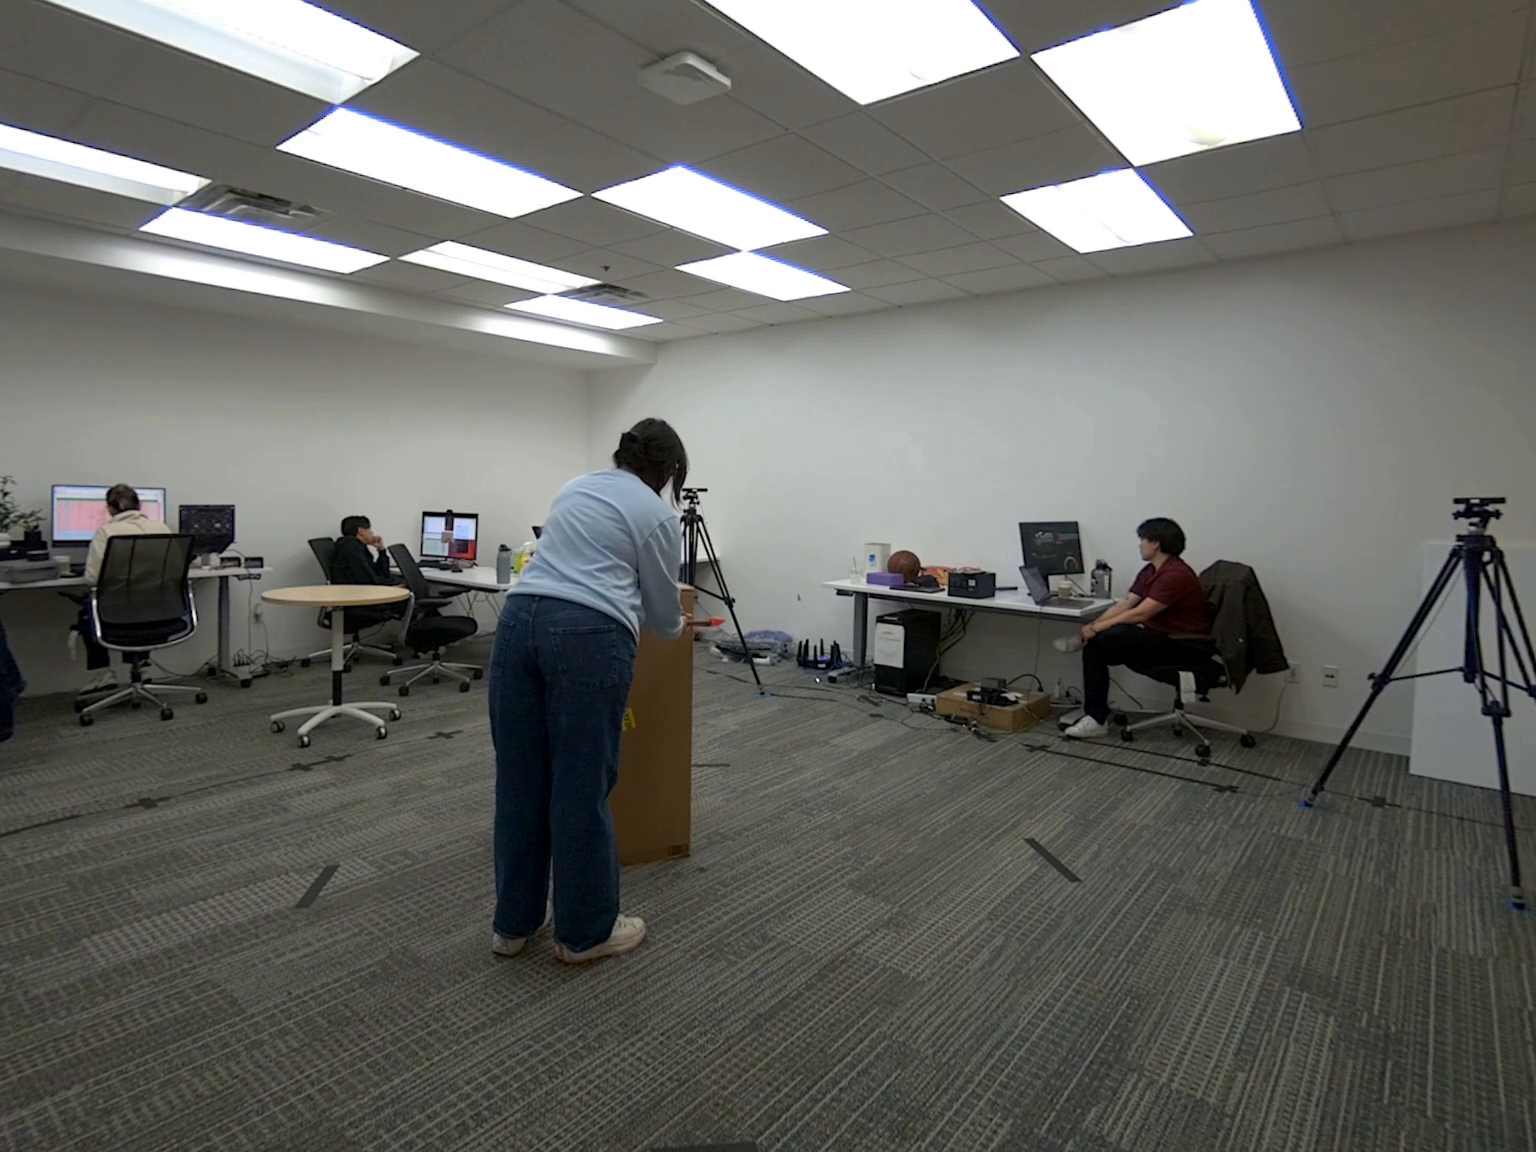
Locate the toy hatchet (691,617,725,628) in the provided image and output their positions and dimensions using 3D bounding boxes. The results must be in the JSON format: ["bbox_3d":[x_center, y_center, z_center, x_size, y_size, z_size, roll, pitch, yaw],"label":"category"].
[{"bbox_3d":[-0.308,0.184,3.043,0.262,0.030,0.134,-1,-7,-41],"label":"toy hatchet"}]
